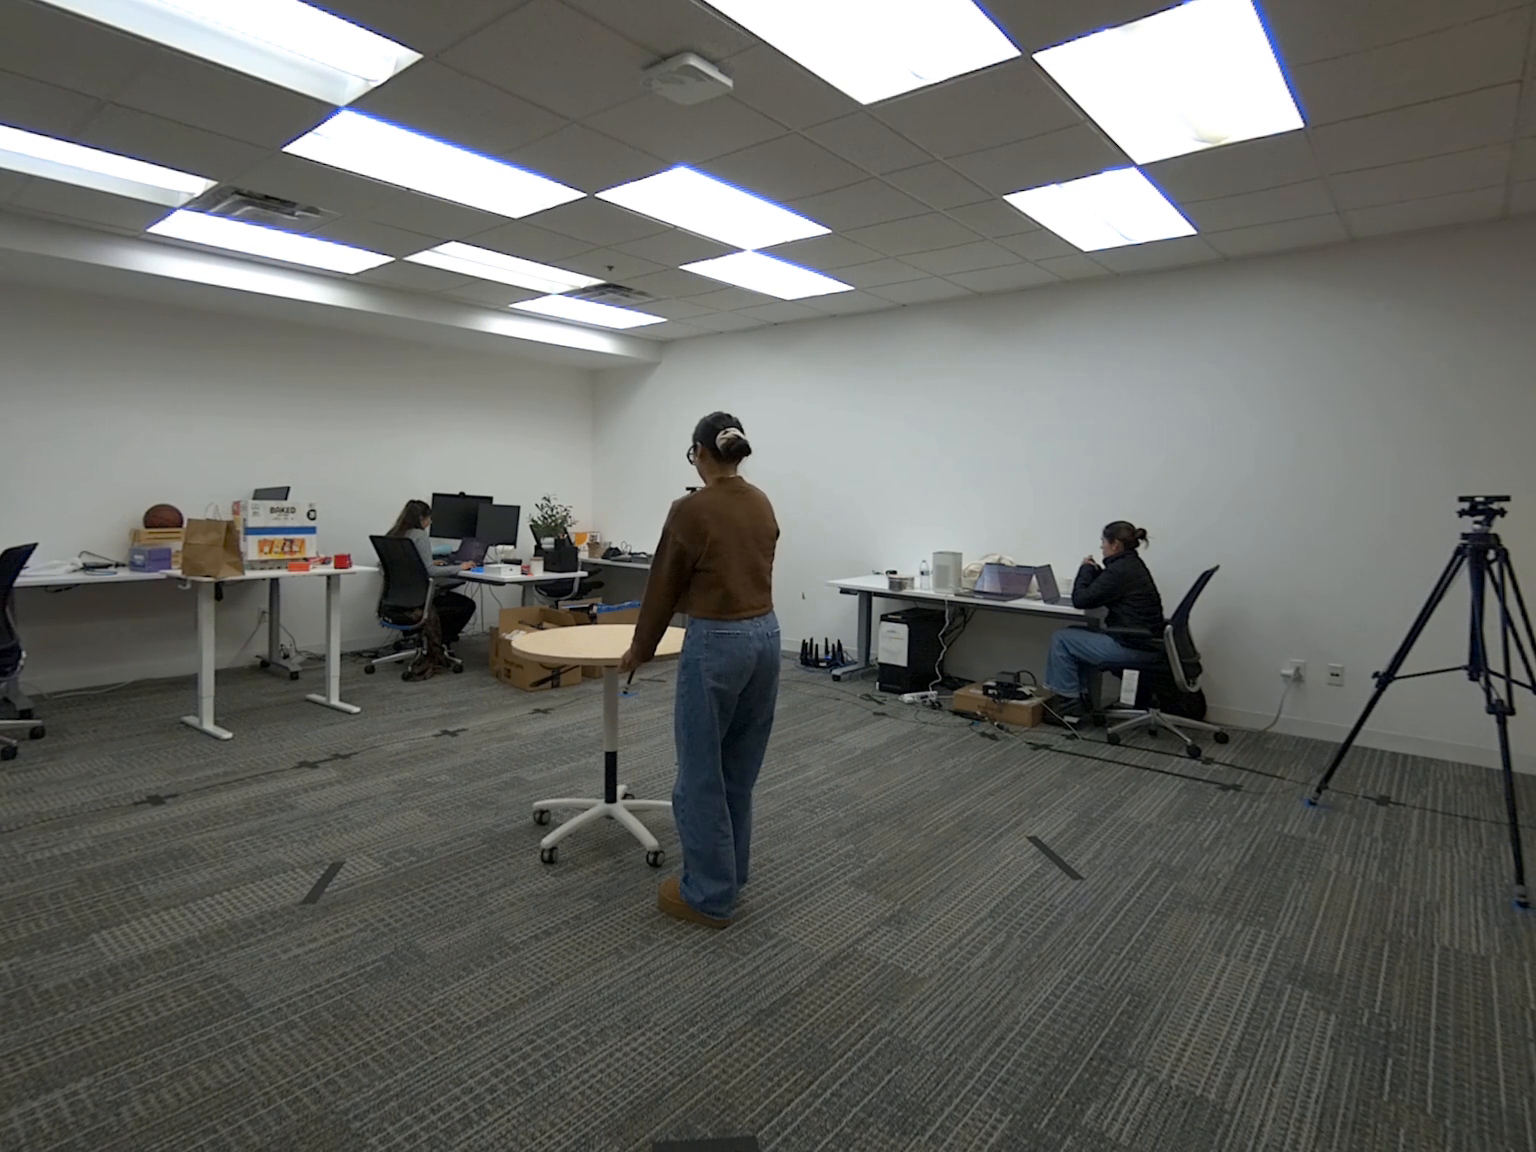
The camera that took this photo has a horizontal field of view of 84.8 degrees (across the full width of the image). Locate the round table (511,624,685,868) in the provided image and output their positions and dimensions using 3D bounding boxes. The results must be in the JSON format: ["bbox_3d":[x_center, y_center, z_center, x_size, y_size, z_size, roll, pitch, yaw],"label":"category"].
[{"bbox_3d":[-0.612,0.638,3.359,0.784,0.784,0.789,0,4,-2],"label":"round table"}]
